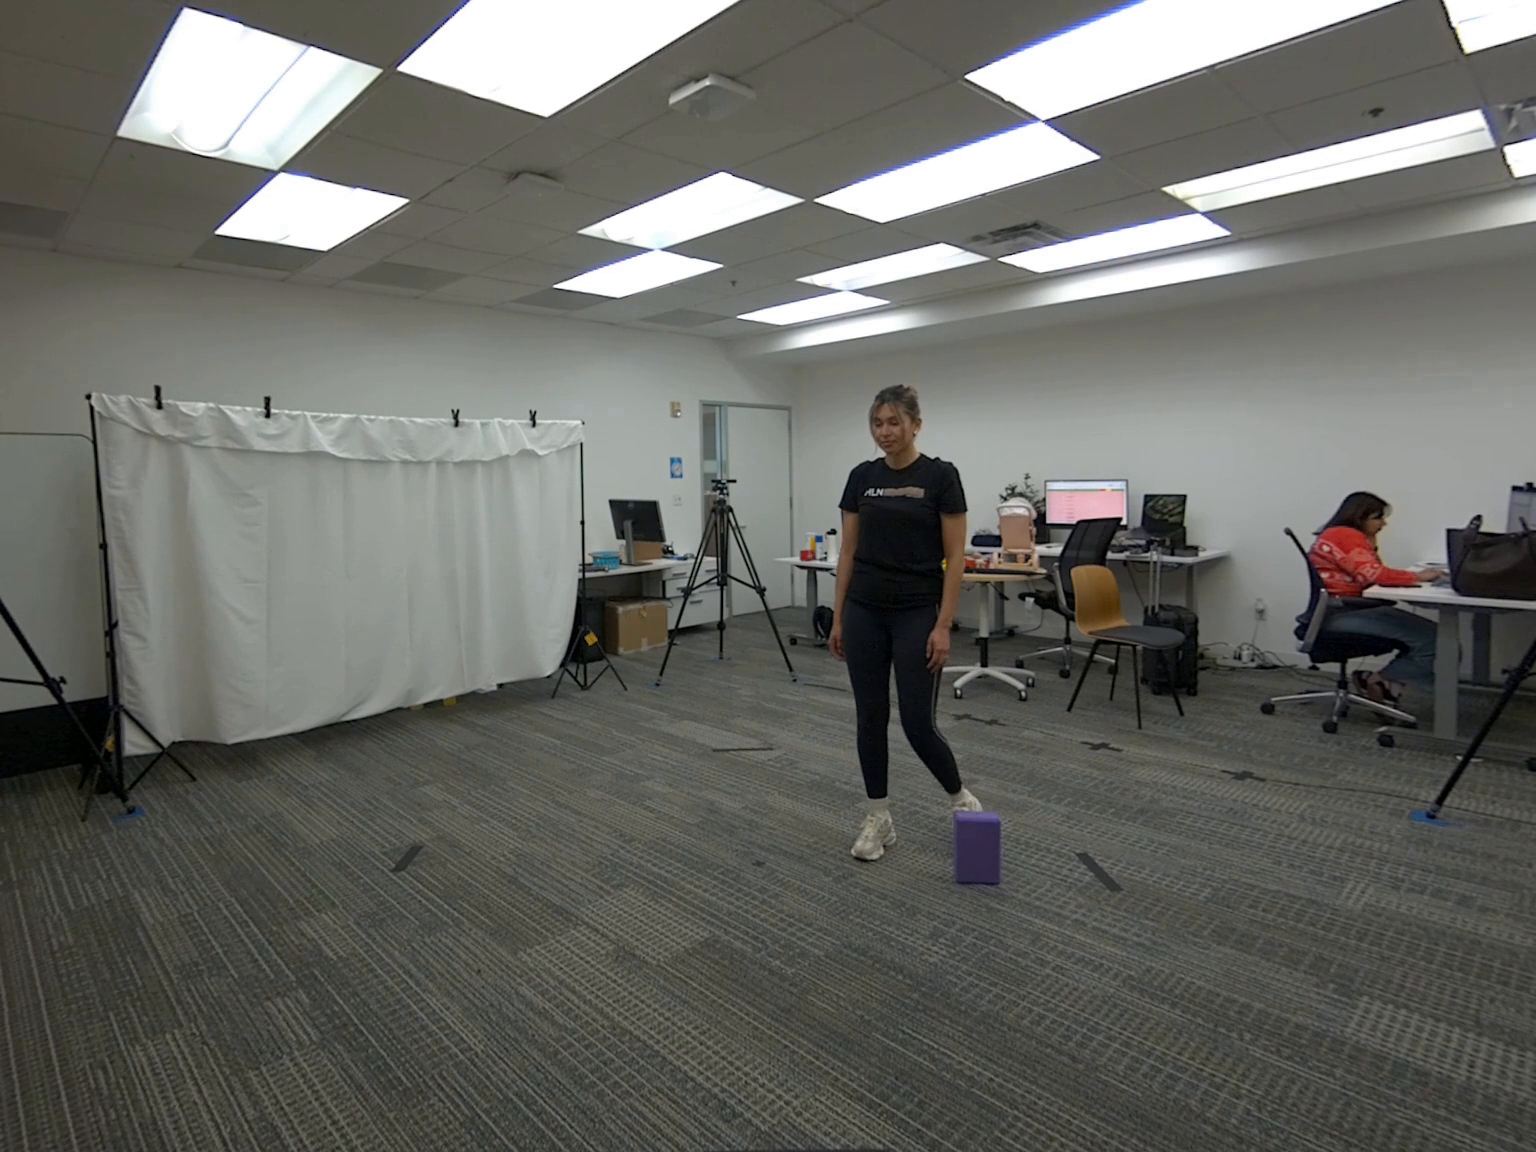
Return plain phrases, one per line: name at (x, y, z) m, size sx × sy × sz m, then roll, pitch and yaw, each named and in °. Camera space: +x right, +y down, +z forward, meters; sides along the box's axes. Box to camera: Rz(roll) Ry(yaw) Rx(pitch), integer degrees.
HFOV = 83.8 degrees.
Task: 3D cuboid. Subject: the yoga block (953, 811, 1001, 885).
yoga block at (0.726, 0.939, 2.943) m, size 0.150 × 0.228 × 0.076 m, roll -1°, pitch 5°, yaw 5°
